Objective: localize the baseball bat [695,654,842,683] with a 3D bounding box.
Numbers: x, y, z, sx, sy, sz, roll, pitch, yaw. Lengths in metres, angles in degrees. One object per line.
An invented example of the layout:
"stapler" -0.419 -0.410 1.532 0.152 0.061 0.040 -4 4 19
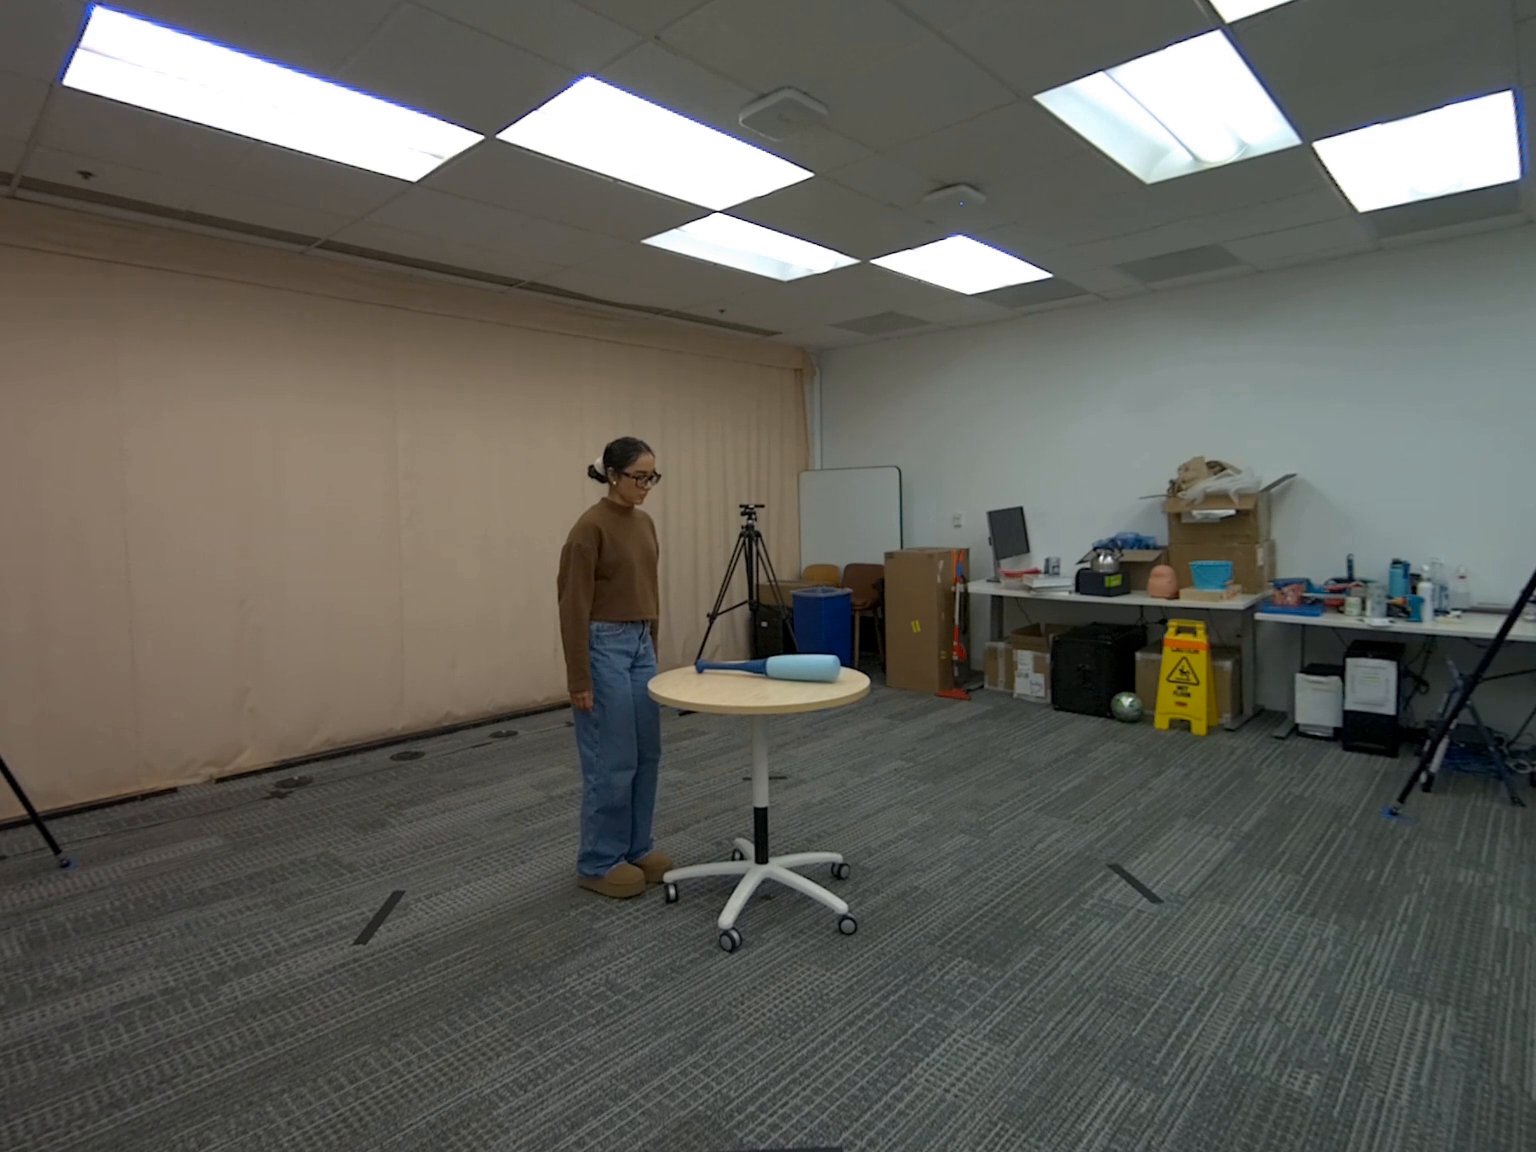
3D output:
"baseball bat" -0.008 0.328 2.961 0.556 0.089 0.087 -3 2 26
